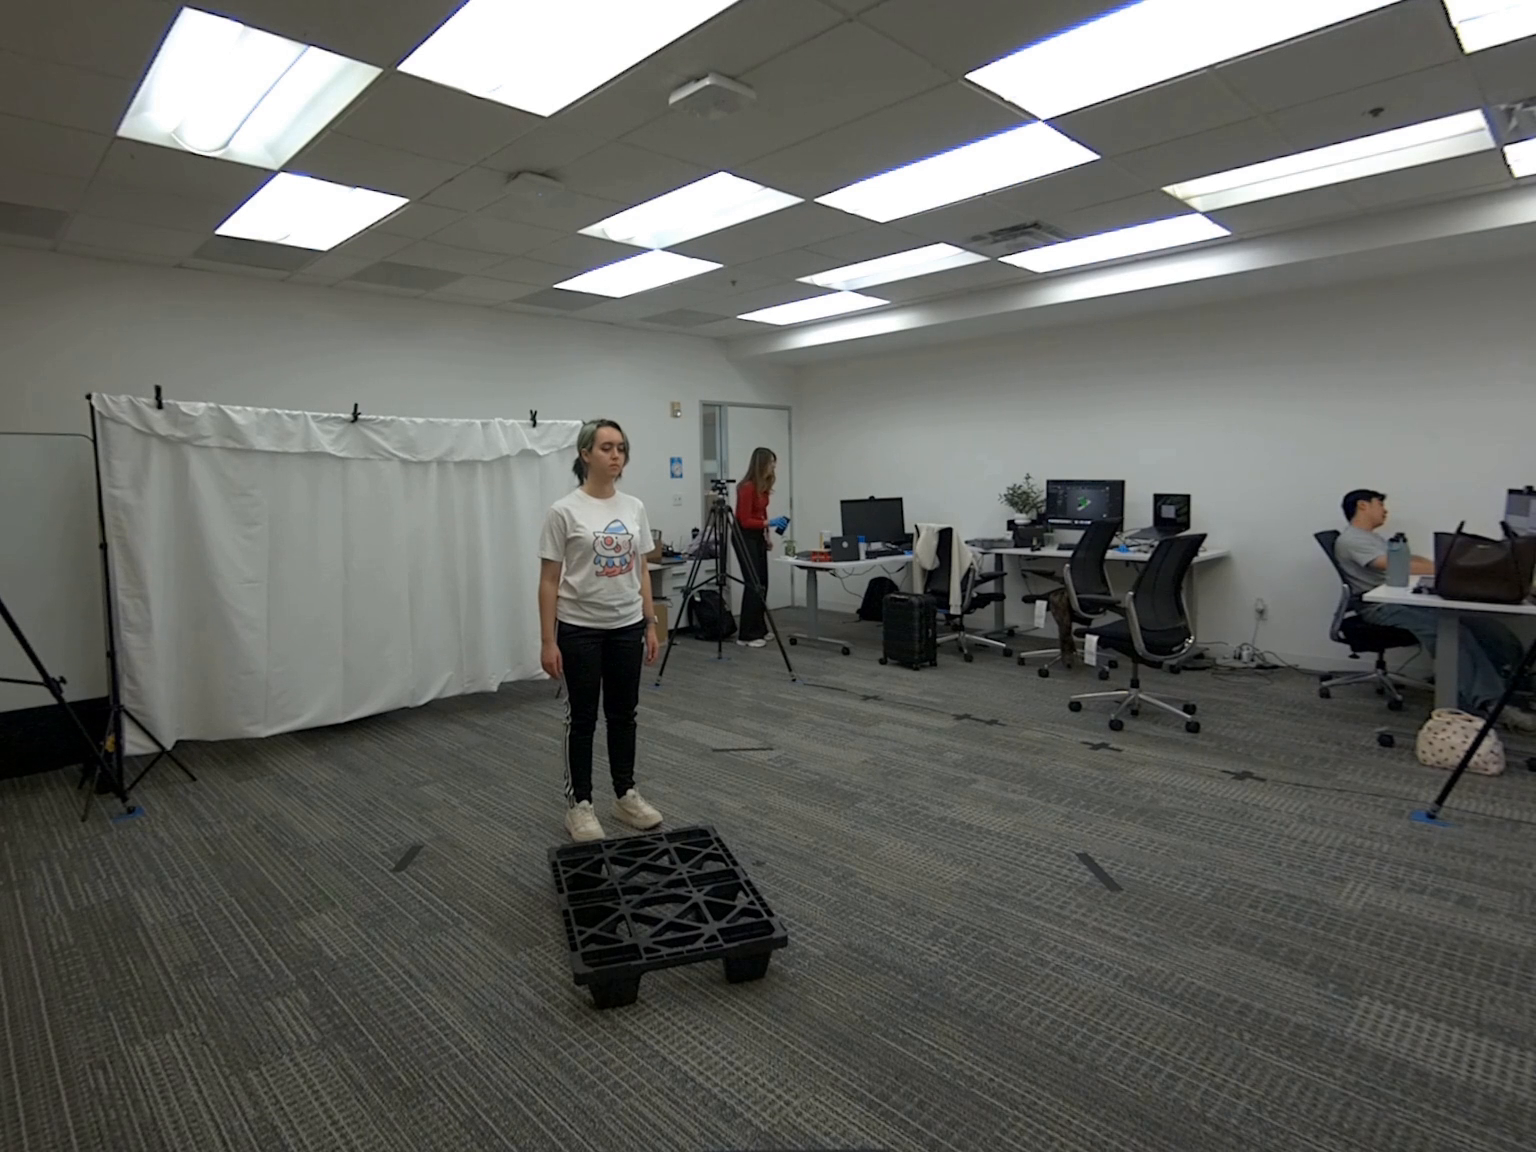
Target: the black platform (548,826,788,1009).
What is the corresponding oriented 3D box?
[{"bbox_3d":[-0.350,1.036,2.677,0.596,0.142,0.822,-4,7,-18],"label":"black platform"}]
